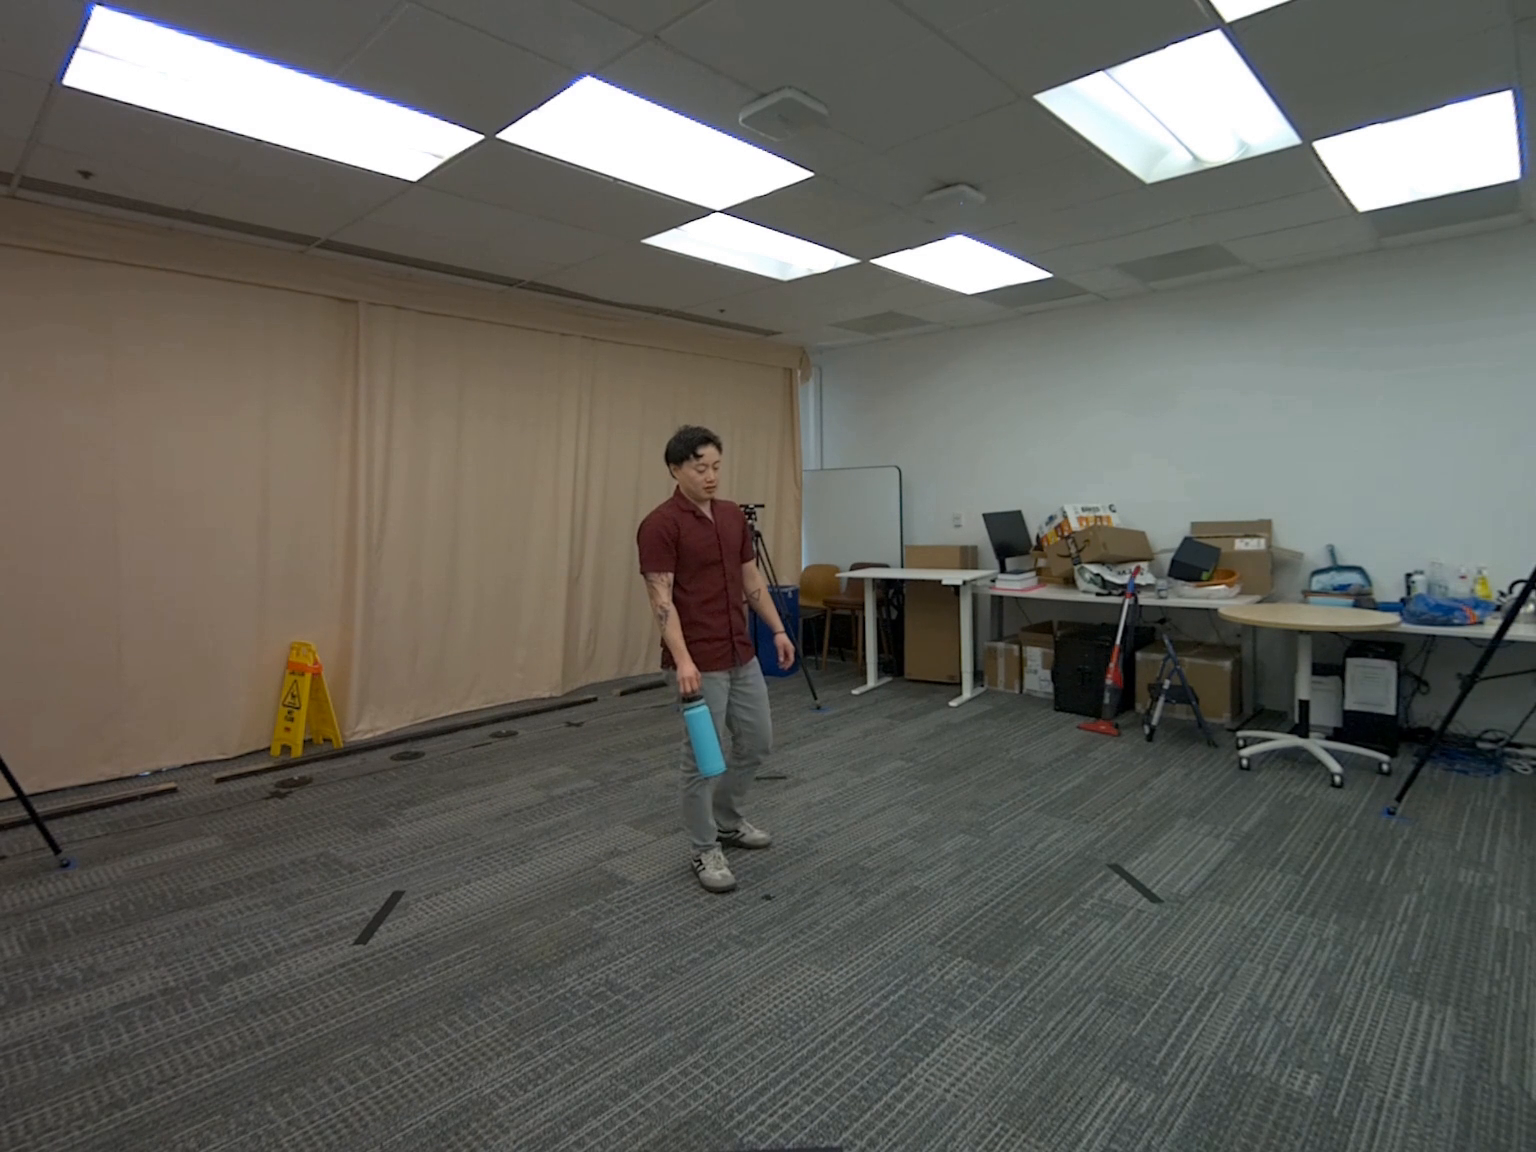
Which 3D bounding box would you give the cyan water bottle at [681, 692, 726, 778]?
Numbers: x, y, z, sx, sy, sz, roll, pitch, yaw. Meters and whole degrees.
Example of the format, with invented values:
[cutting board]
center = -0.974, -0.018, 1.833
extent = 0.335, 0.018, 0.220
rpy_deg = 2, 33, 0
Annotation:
[cyan water bottle]
center = -0.229, 0.531, 2.864
extent = 0.092, 0.284, 0.092
rpy_deg = -16, -4, -3
